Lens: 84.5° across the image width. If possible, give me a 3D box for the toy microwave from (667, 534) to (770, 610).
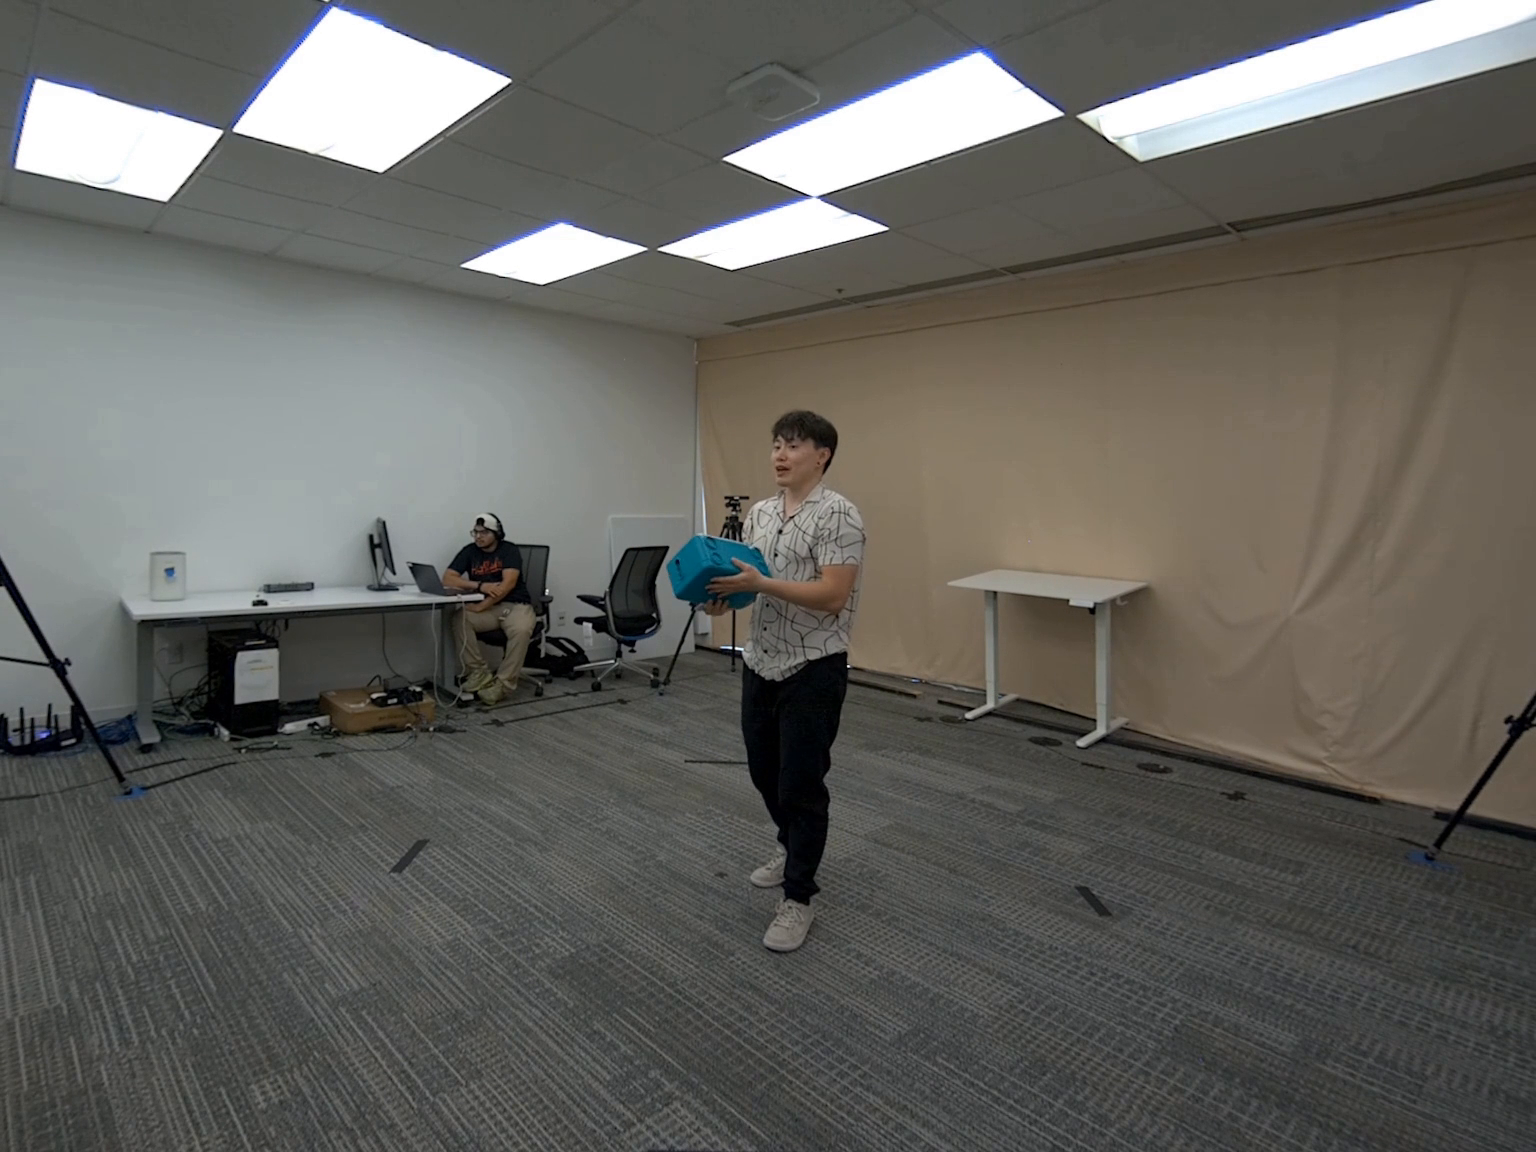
[{"bbox_3d":[-0.153,-0.015,2.602,0.278,0.156,0.184,12,-44,-42],"label":"toy microwave"}]
